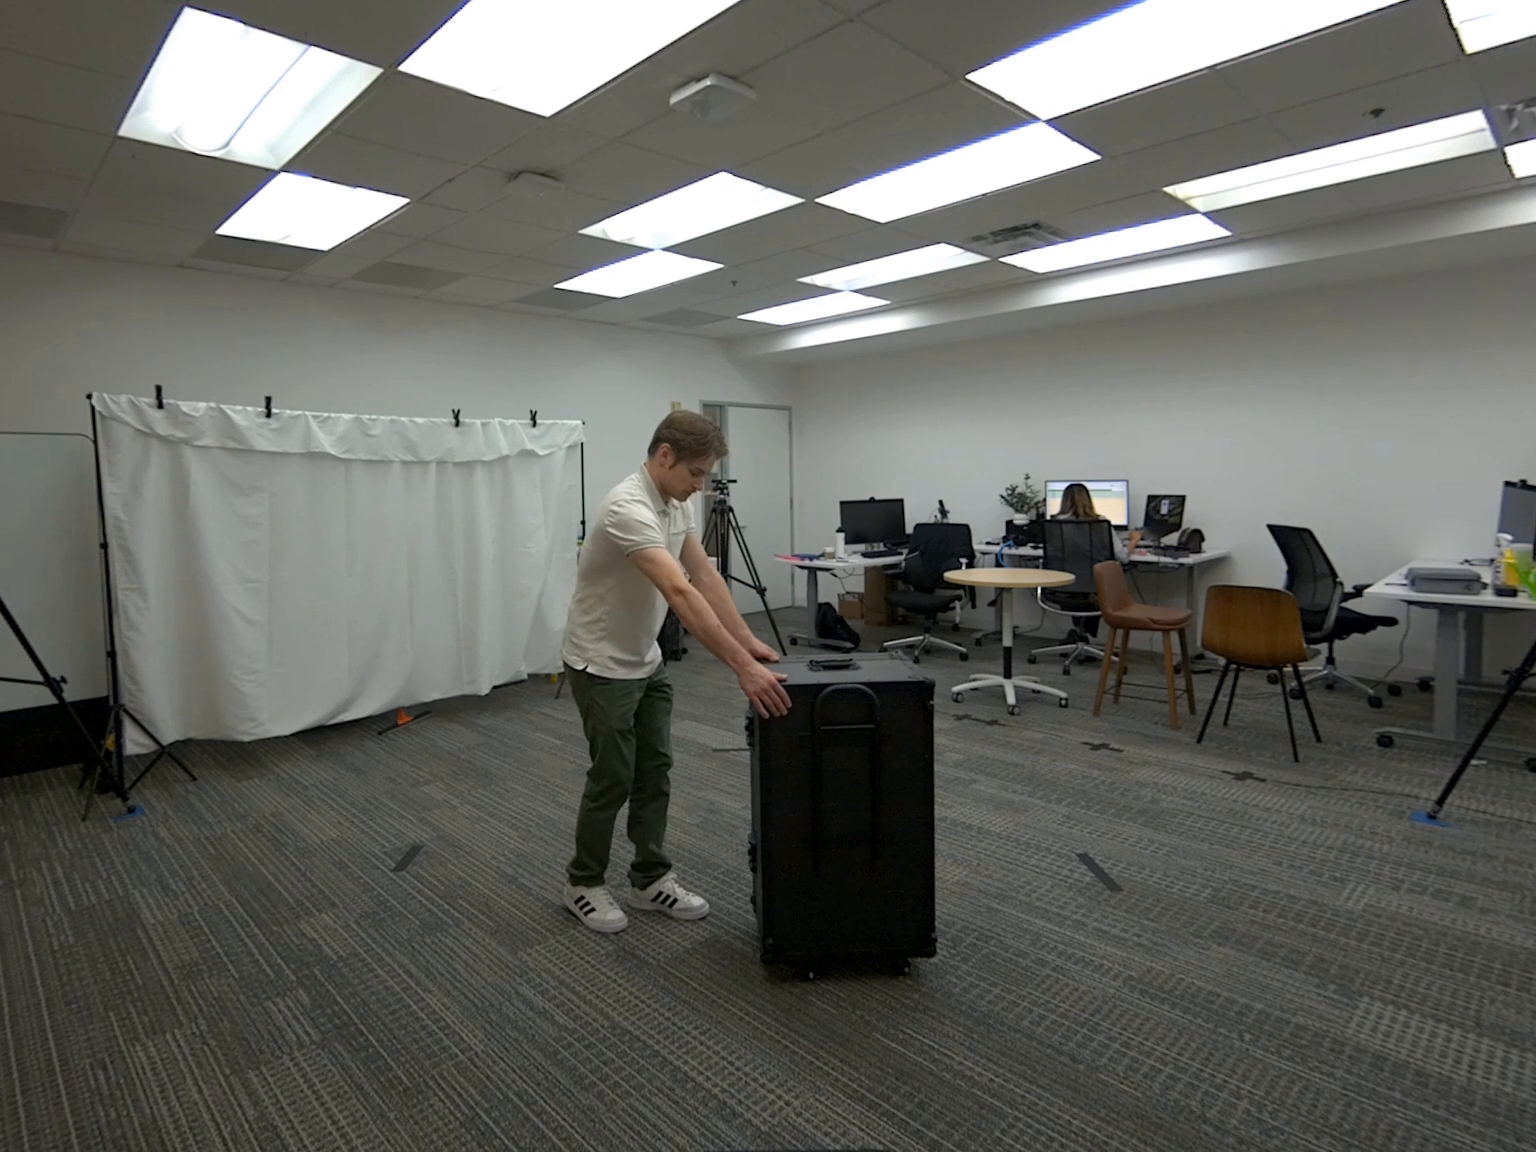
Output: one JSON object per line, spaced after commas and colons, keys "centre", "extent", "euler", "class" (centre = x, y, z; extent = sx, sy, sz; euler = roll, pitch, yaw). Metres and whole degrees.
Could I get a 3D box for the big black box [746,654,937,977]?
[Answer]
{"centre": [0.205, 0.690, 2.493], "extent": [0.521, 0.865, 0.388], "euler": [-2, 4, -4], "class": "big black box"}
